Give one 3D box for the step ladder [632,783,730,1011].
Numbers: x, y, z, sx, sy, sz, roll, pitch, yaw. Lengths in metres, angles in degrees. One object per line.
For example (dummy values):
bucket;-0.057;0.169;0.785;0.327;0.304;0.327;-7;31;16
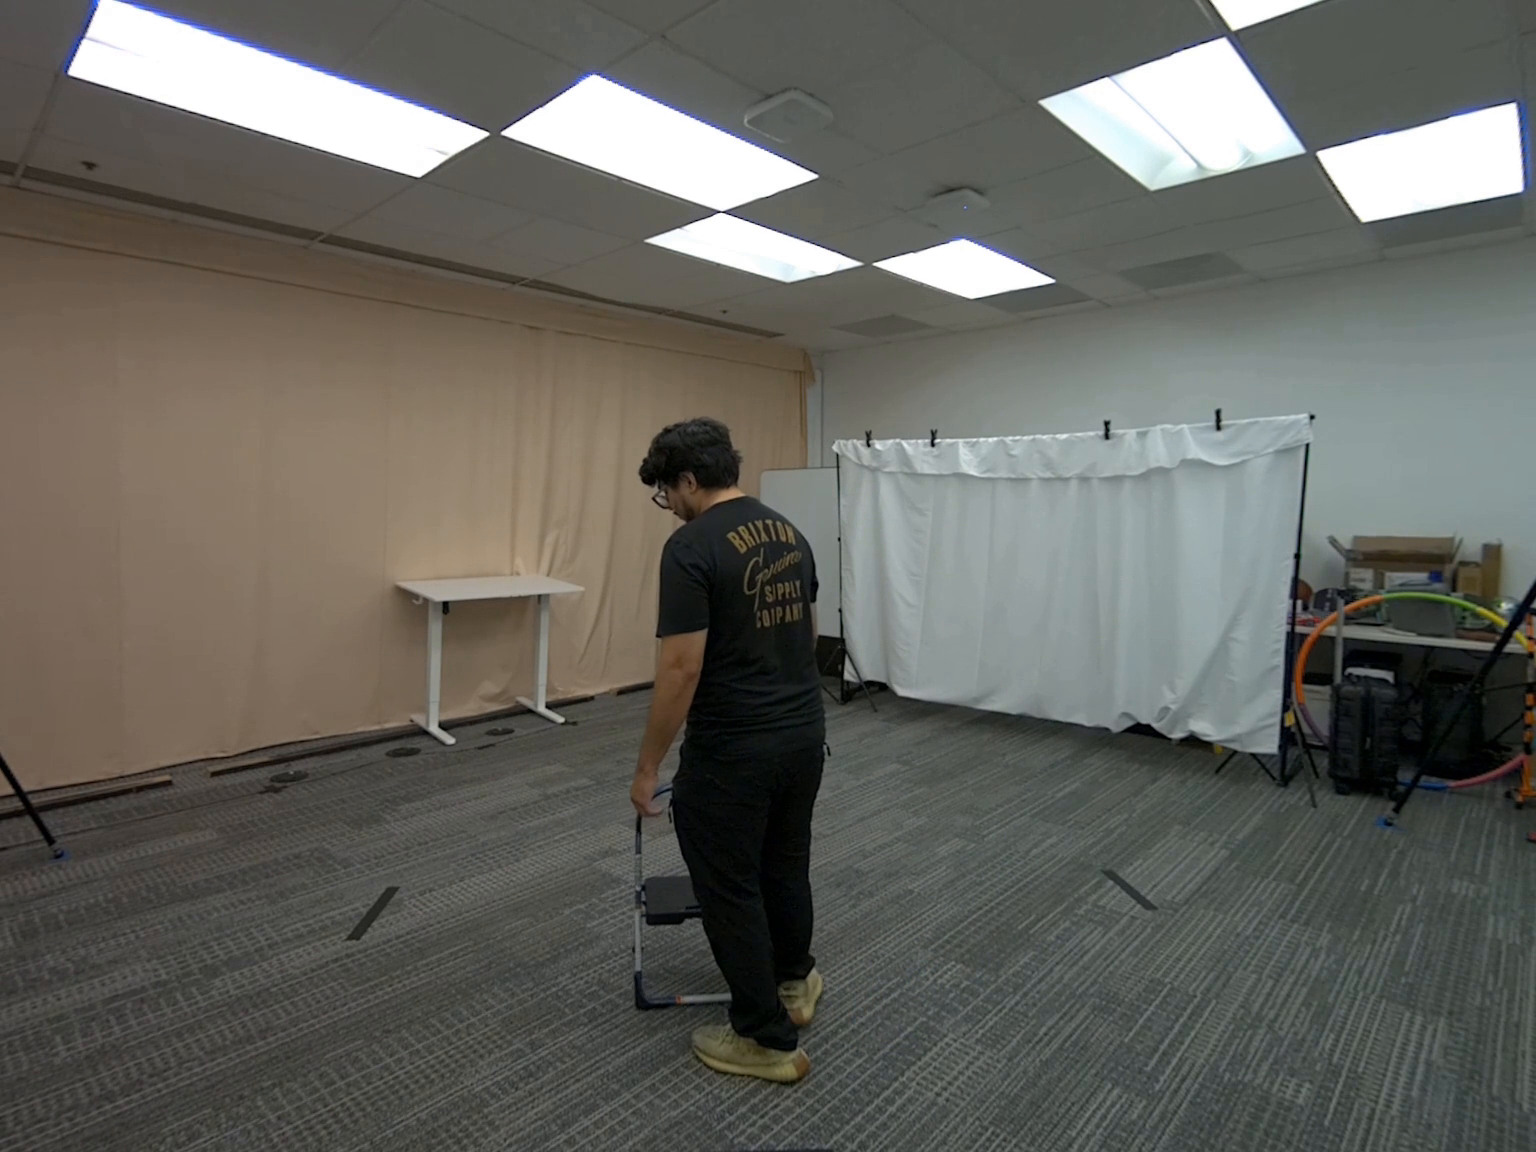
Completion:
step ladder;-0.192;0.890;2.496;0.427;0.605;0.352;-1;2;-8
